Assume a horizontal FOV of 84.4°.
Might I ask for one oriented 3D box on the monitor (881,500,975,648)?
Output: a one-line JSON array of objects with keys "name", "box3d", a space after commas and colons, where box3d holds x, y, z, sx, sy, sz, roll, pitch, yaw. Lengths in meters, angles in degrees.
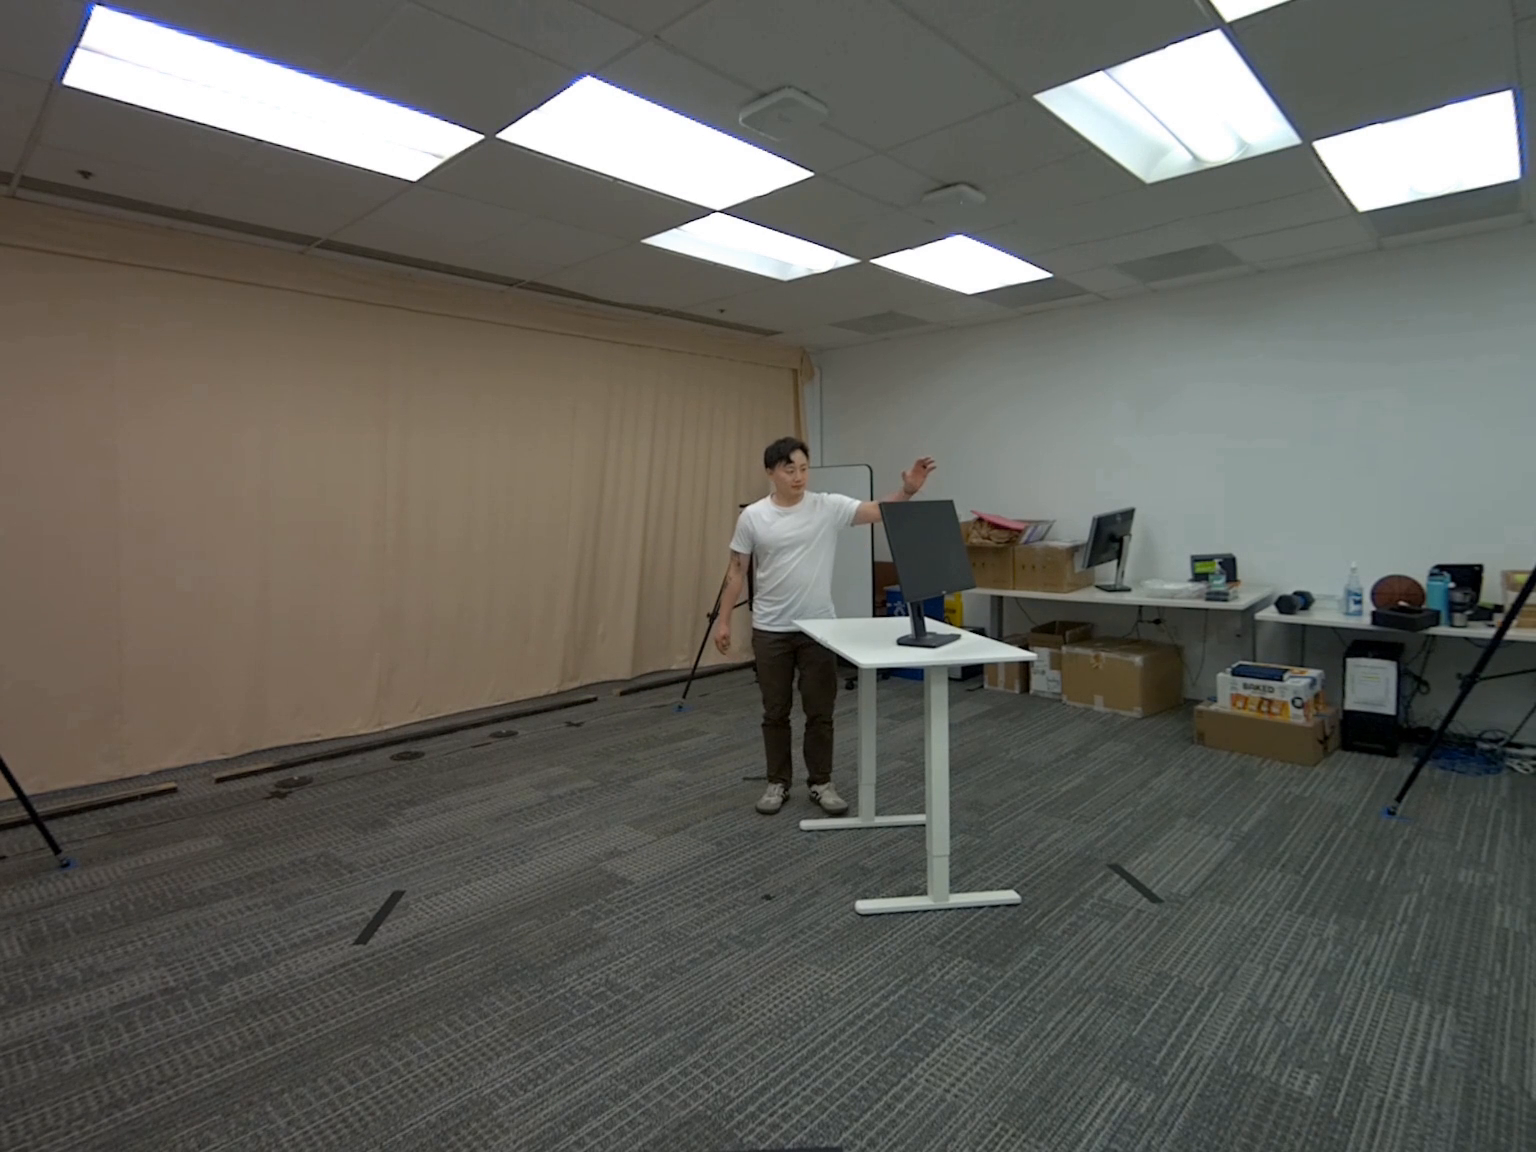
[{"name": "monitor", "box3d": [0.579, -0.011, 3.075, 0.193, 0.522, 0.523, -1, 3, 39]}]
